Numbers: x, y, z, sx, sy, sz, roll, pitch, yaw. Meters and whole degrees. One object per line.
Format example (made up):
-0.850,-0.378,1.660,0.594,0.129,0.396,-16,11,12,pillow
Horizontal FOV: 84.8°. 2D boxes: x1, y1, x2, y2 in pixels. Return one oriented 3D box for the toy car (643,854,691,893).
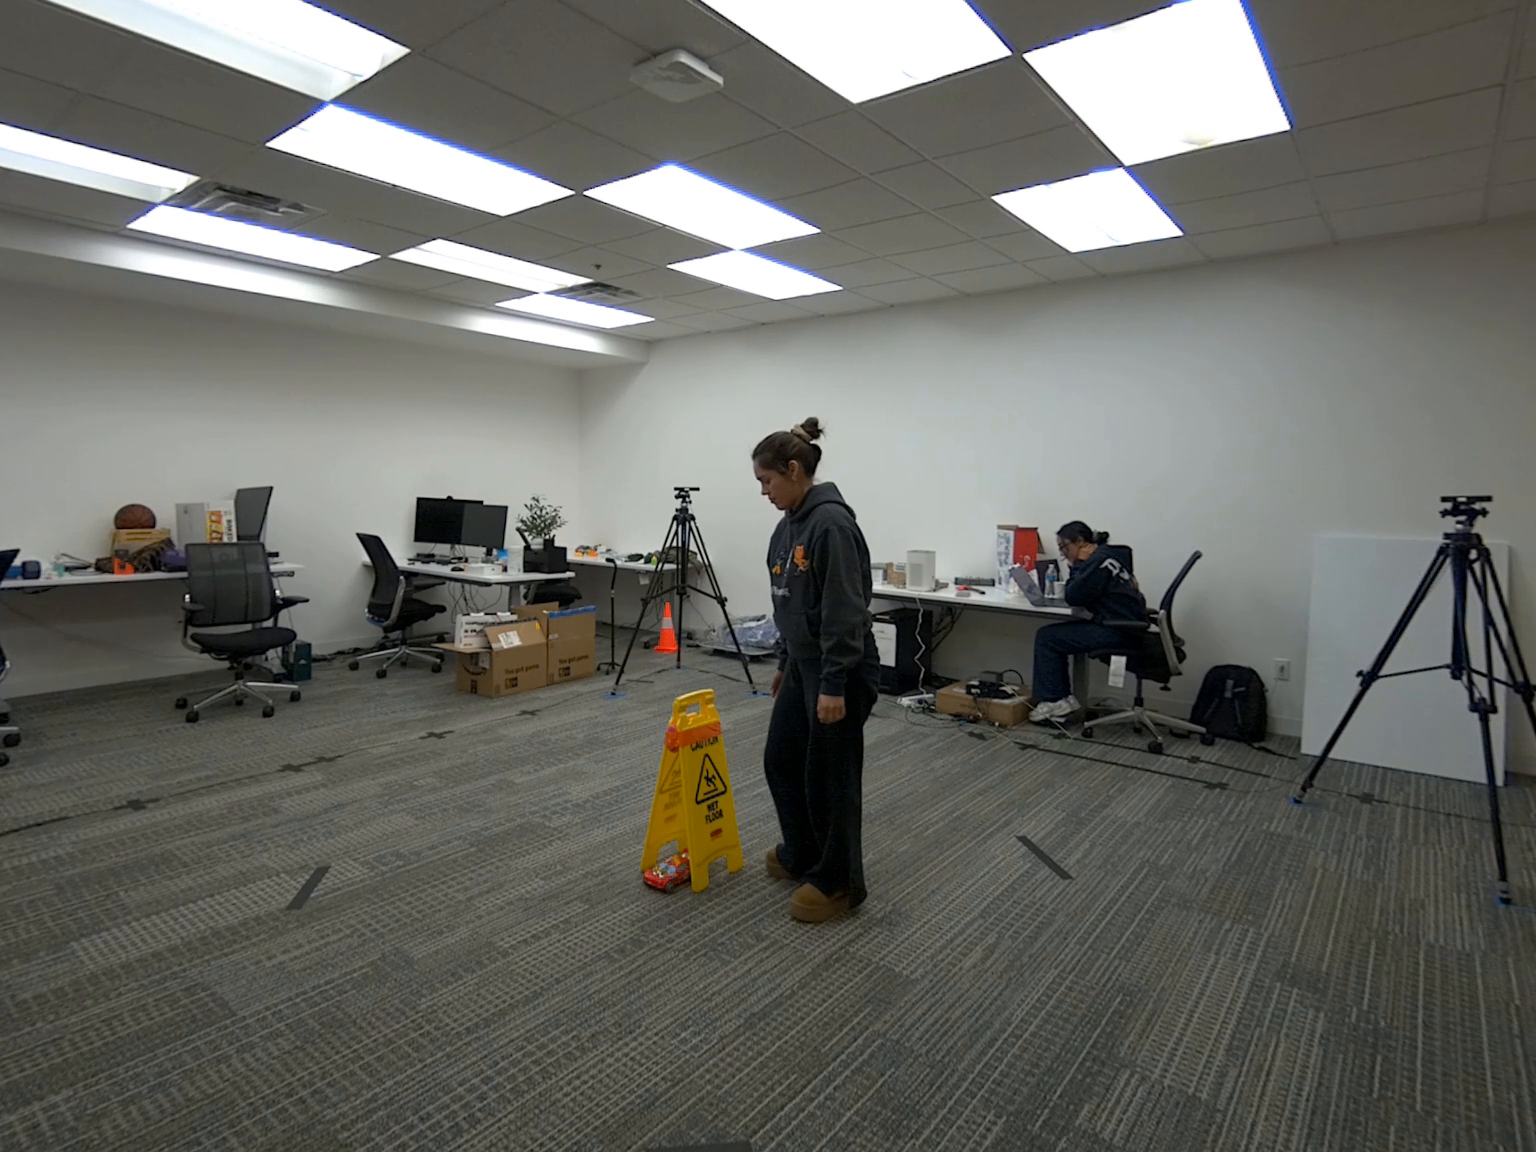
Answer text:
-0.338,1.043,3.026,0.135,0.082,0.249,5,16,38,toy car
